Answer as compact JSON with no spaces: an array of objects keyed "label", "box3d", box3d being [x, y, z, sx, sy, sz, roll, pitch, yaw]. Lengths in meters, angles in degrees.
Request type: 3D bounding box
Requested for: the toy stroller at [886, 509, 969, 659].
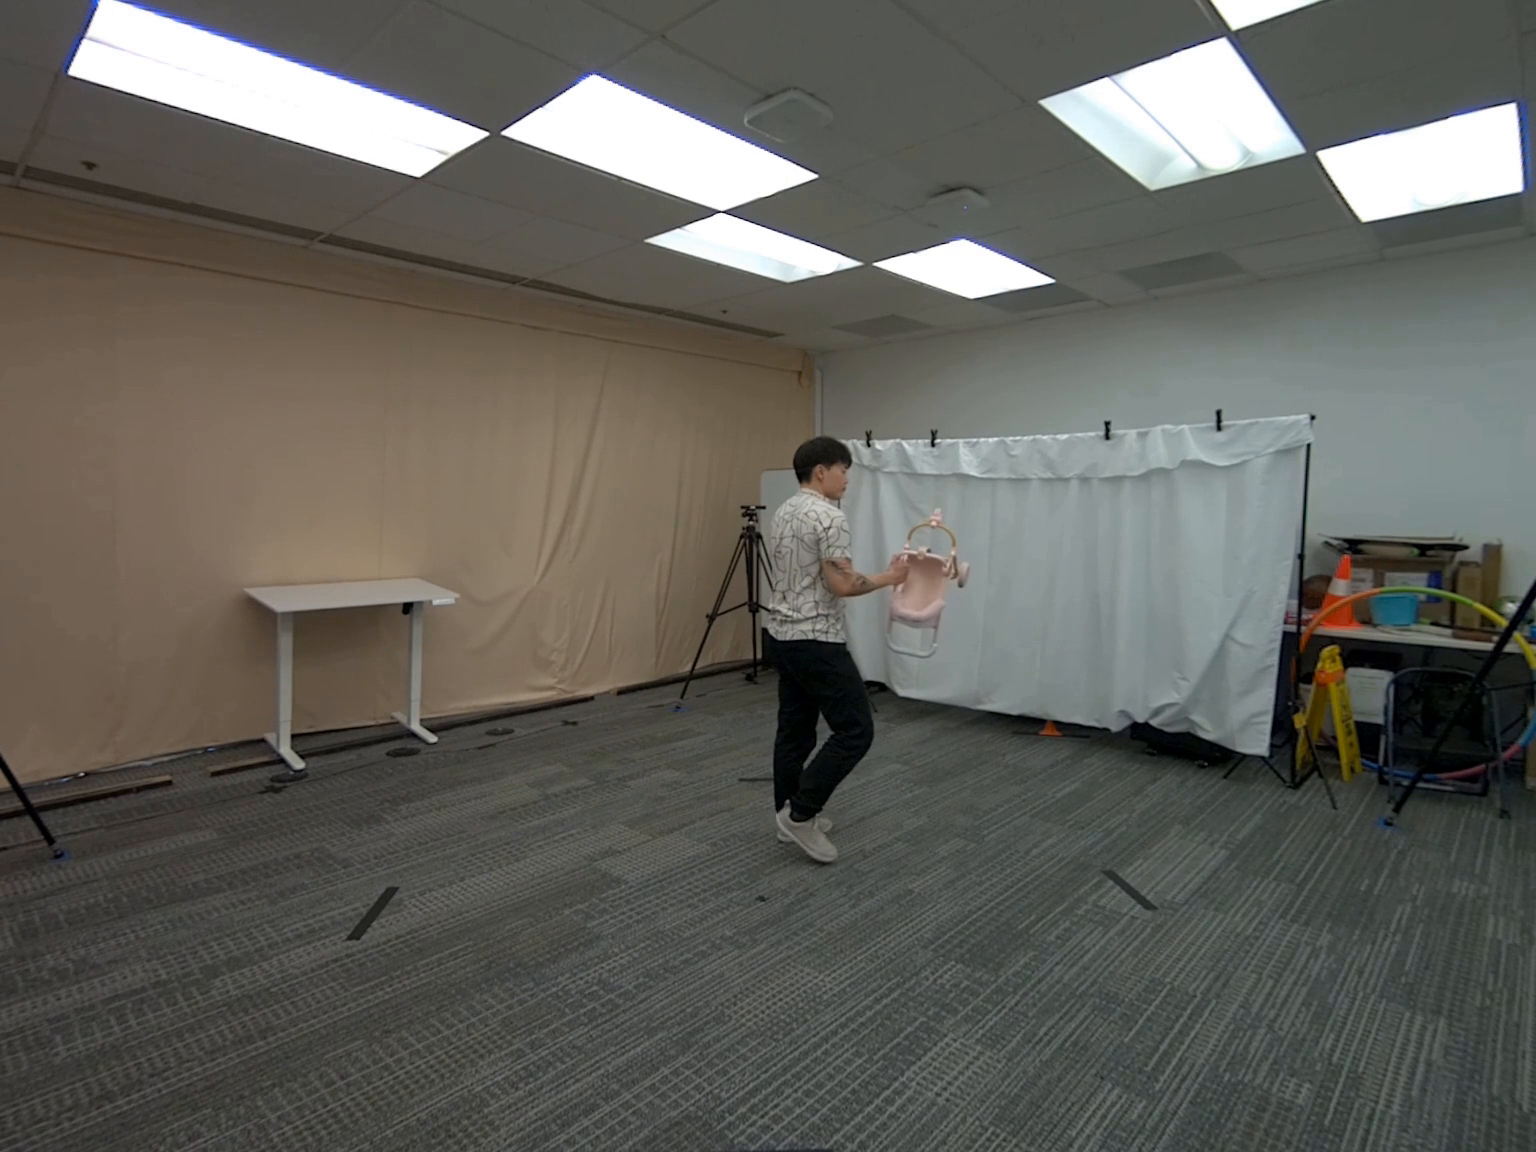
[{"label":"toy stroller","box3d":[0.631,0.022,3.381,0.288,0.536,0.333,13,-36,20]}]
